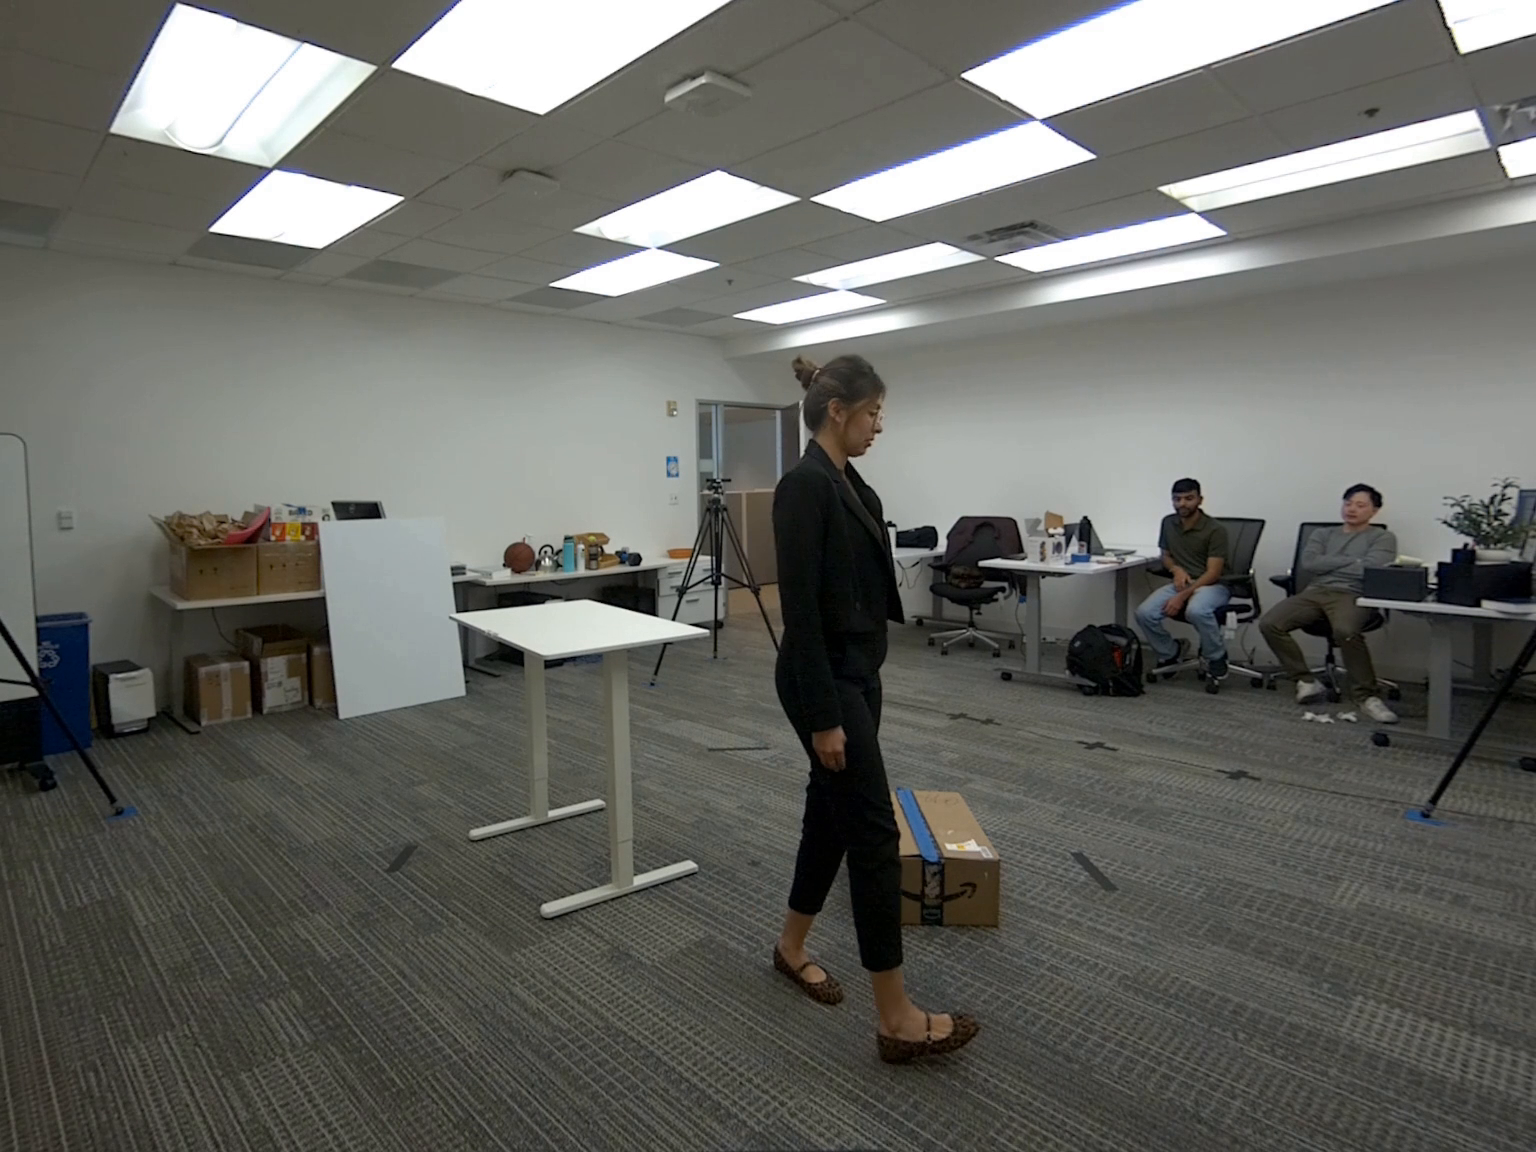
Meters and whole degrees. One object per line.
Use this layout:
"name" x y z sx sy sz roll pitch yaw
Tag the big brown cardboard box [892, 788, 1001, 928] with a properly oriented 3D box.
"big brown cardboard box" 0.512 0.944 2.922 0.418 0.232 0.591 -1 5 0
